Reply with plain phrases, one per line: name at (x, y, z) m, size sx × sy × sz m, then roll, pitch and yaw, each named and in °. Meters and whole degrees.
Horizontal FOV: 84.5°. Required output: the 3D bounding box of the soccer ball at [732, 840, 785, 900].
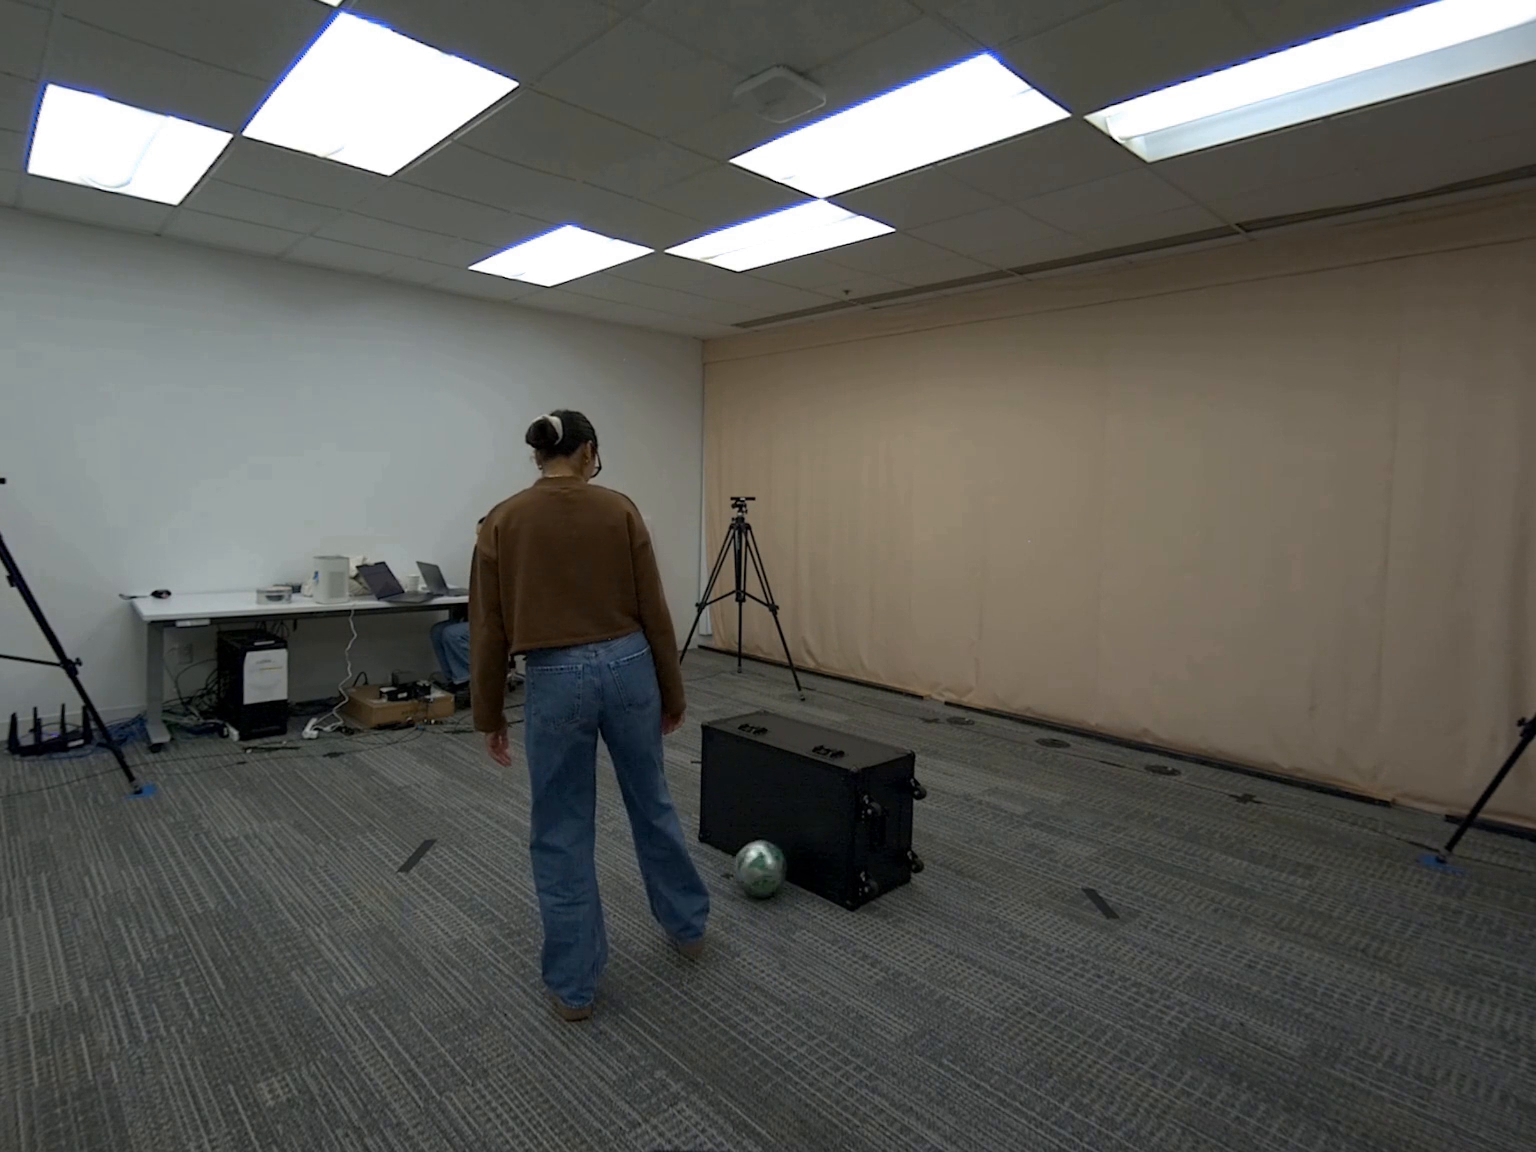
soccer ball at (-0.061, 1.020, 2.935) m, size 0.187 × 0.187 × 0.188 m, roll 1°, pitch 4°, yaw -1°
